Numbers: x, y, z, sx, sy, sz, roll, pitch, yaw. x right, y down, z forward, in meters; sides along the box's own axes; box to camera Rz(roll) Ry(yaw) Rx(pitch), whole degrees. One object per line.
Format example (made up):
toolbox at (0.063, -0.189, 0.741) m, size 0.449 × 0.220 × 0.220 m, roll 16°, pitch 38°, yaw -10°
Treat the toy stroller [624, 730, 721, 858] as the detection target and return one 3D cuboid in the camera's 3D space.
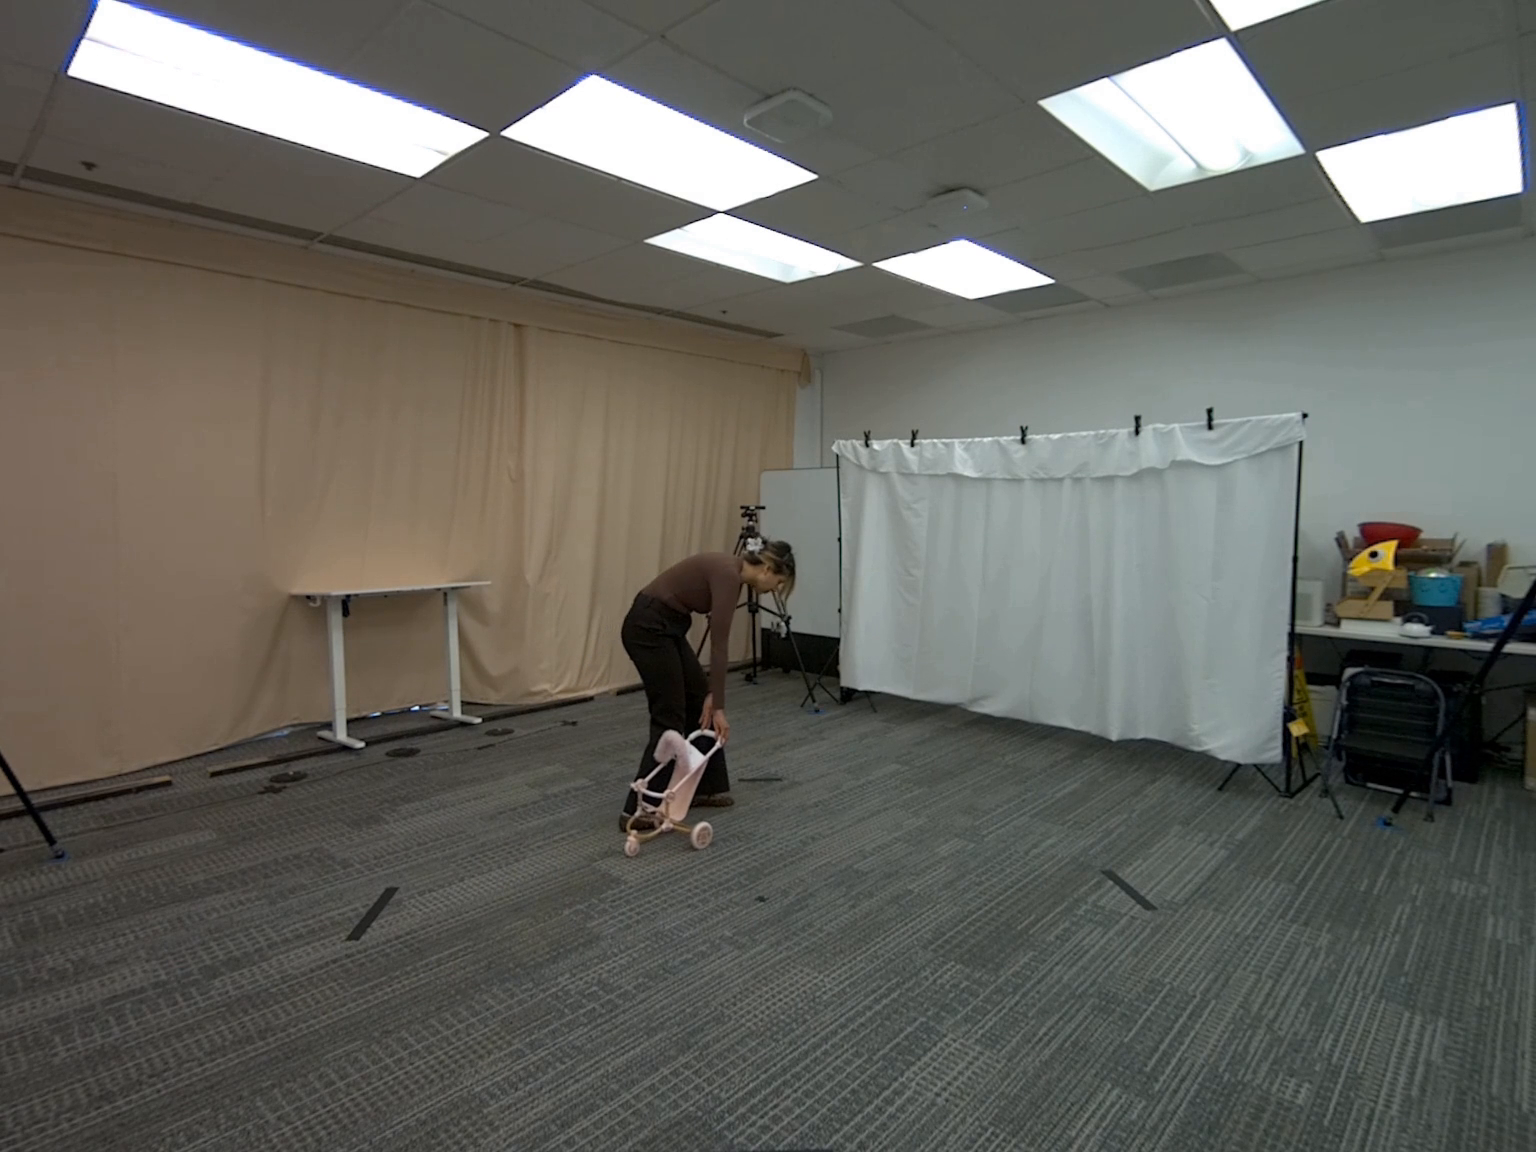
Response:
toy stroller at (-0.400, 0.877, 3.469) m, size 0.330 × 0.536 × 0.290 m, roll 17°, pitch -9°, yaw -36°
